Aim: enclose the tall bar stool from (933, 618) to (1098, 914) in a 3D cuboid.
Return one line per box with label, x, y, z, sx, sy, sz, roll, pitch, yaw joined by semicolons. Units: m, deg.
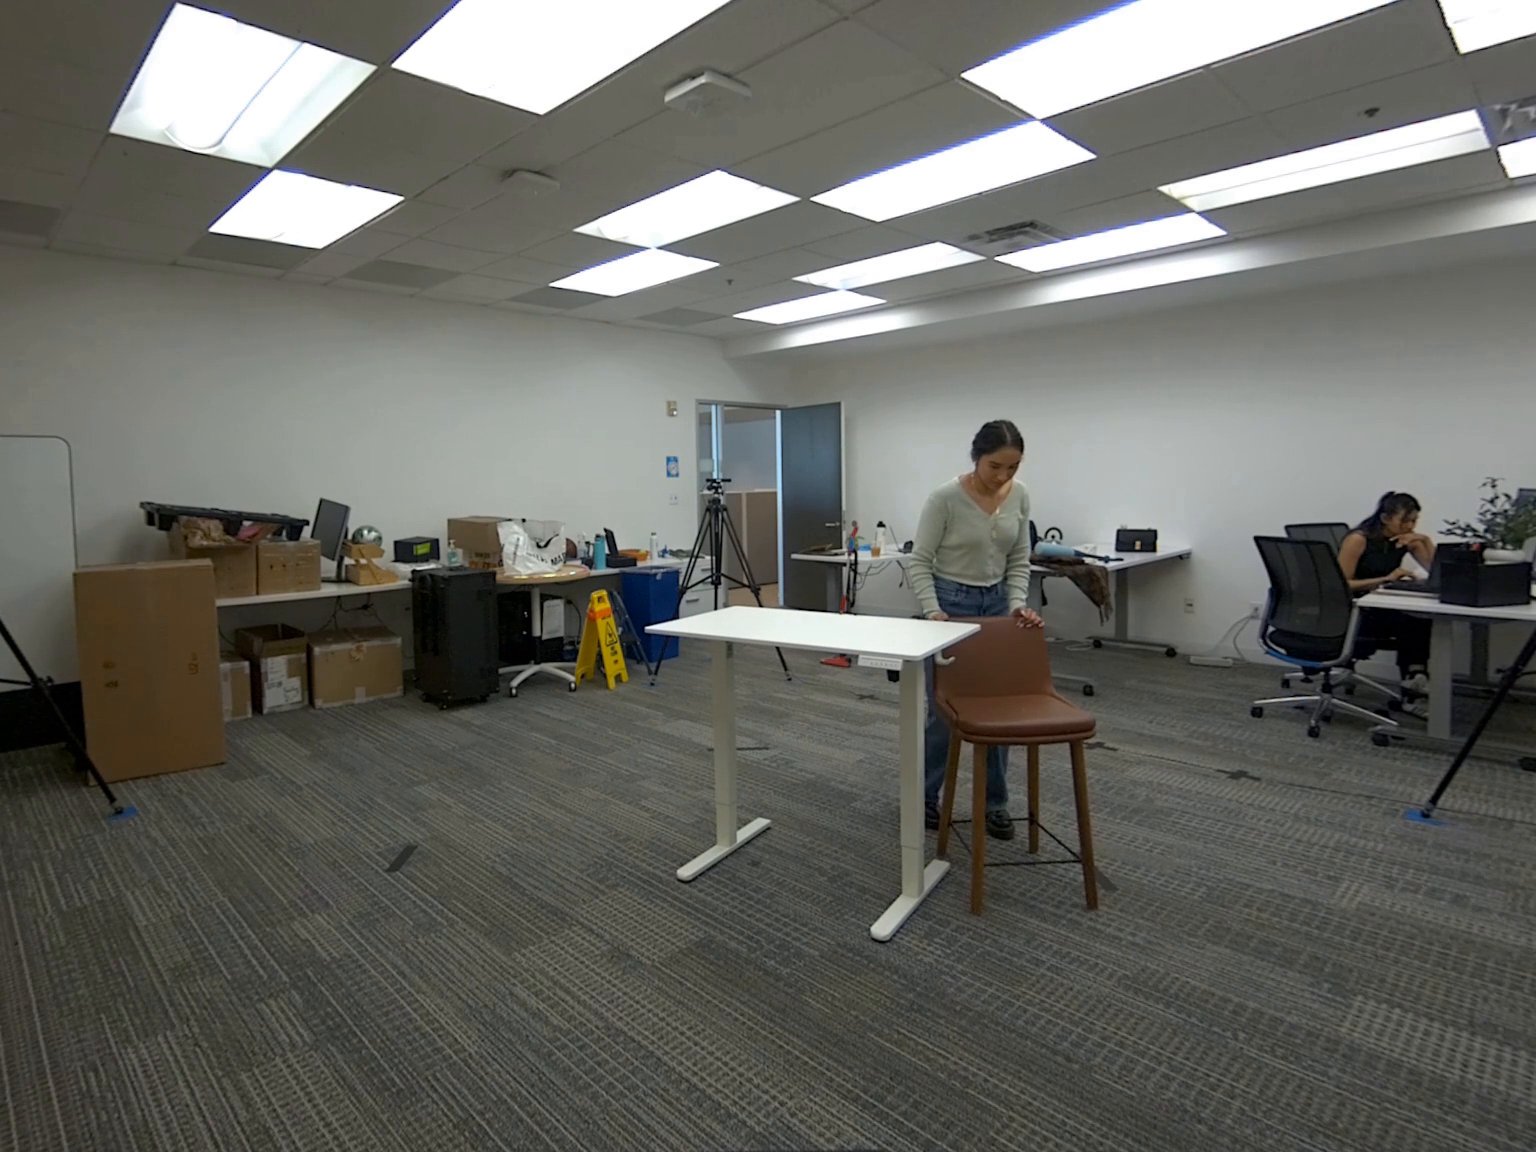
tall bar stool;0.822;0.618;2.925;0.455;0.888;0.470;1;2;-4
